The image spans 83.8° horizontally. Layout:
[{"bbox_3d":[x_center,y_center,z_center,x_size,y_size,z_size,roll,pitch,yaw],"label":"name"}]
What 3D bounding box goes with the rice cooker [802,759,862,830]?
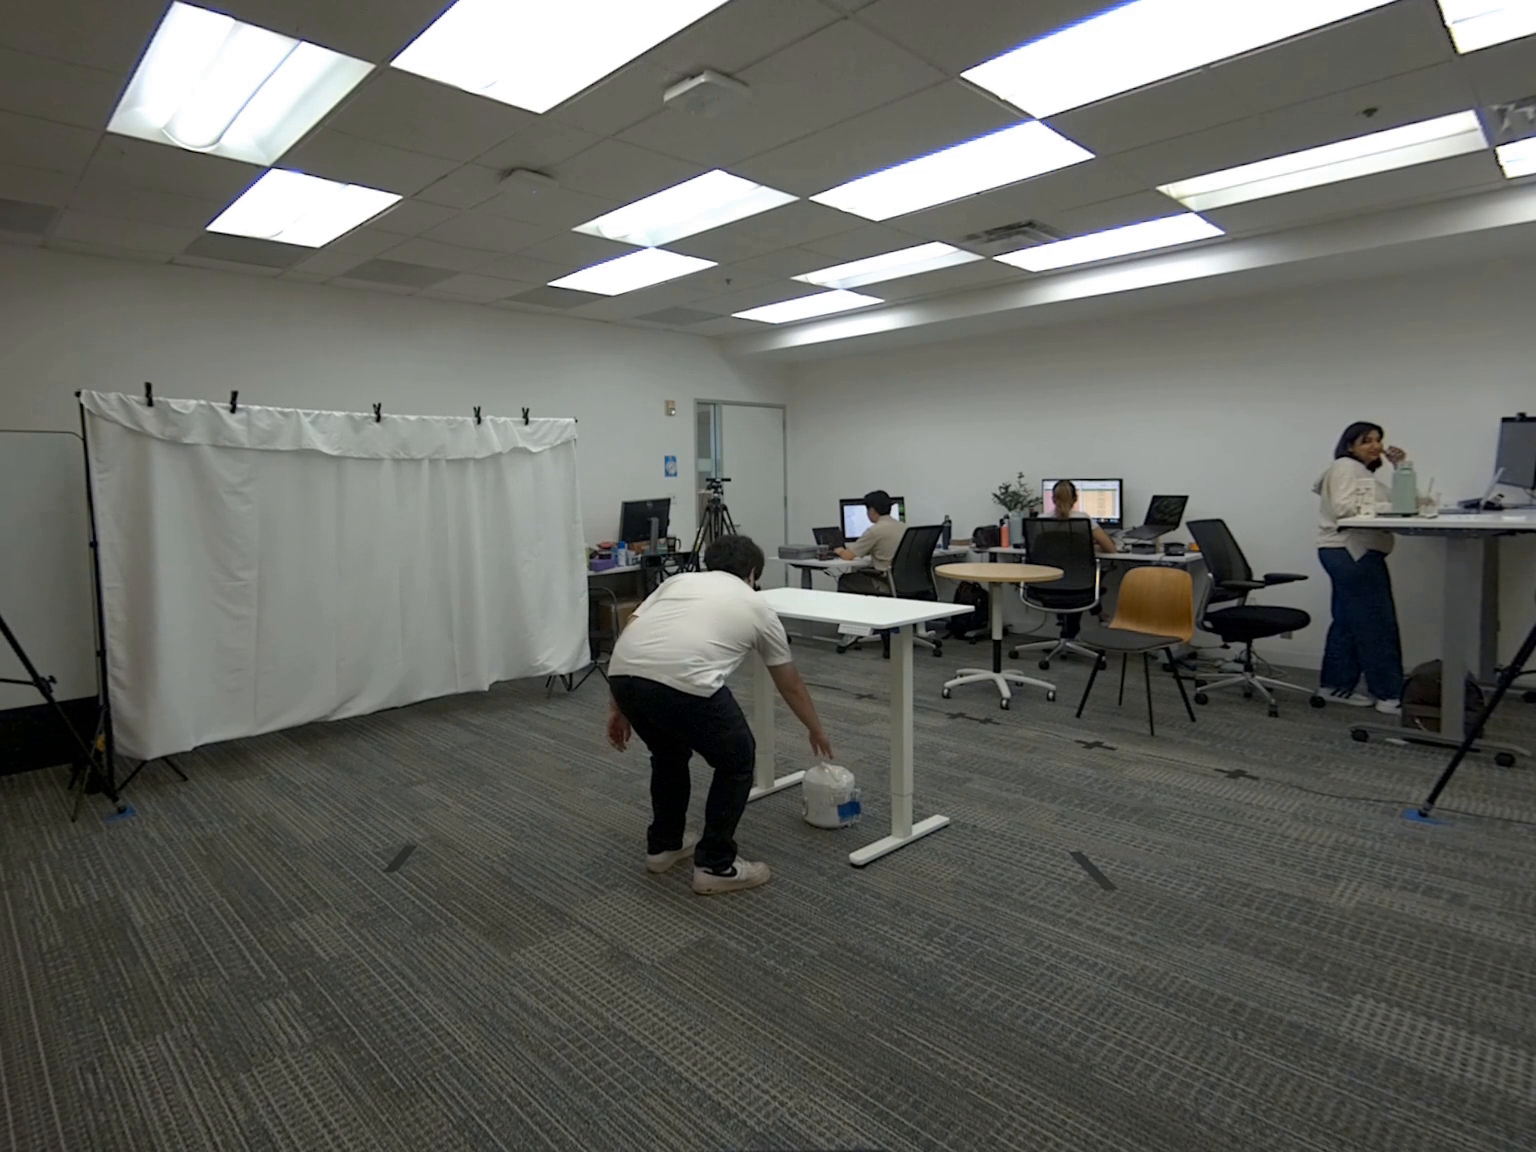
[{"bbox_3d":[0.243,0.880,3.463,0.214,0.232,0.225,-2,5,-16],"label":"rice cooker"}]
